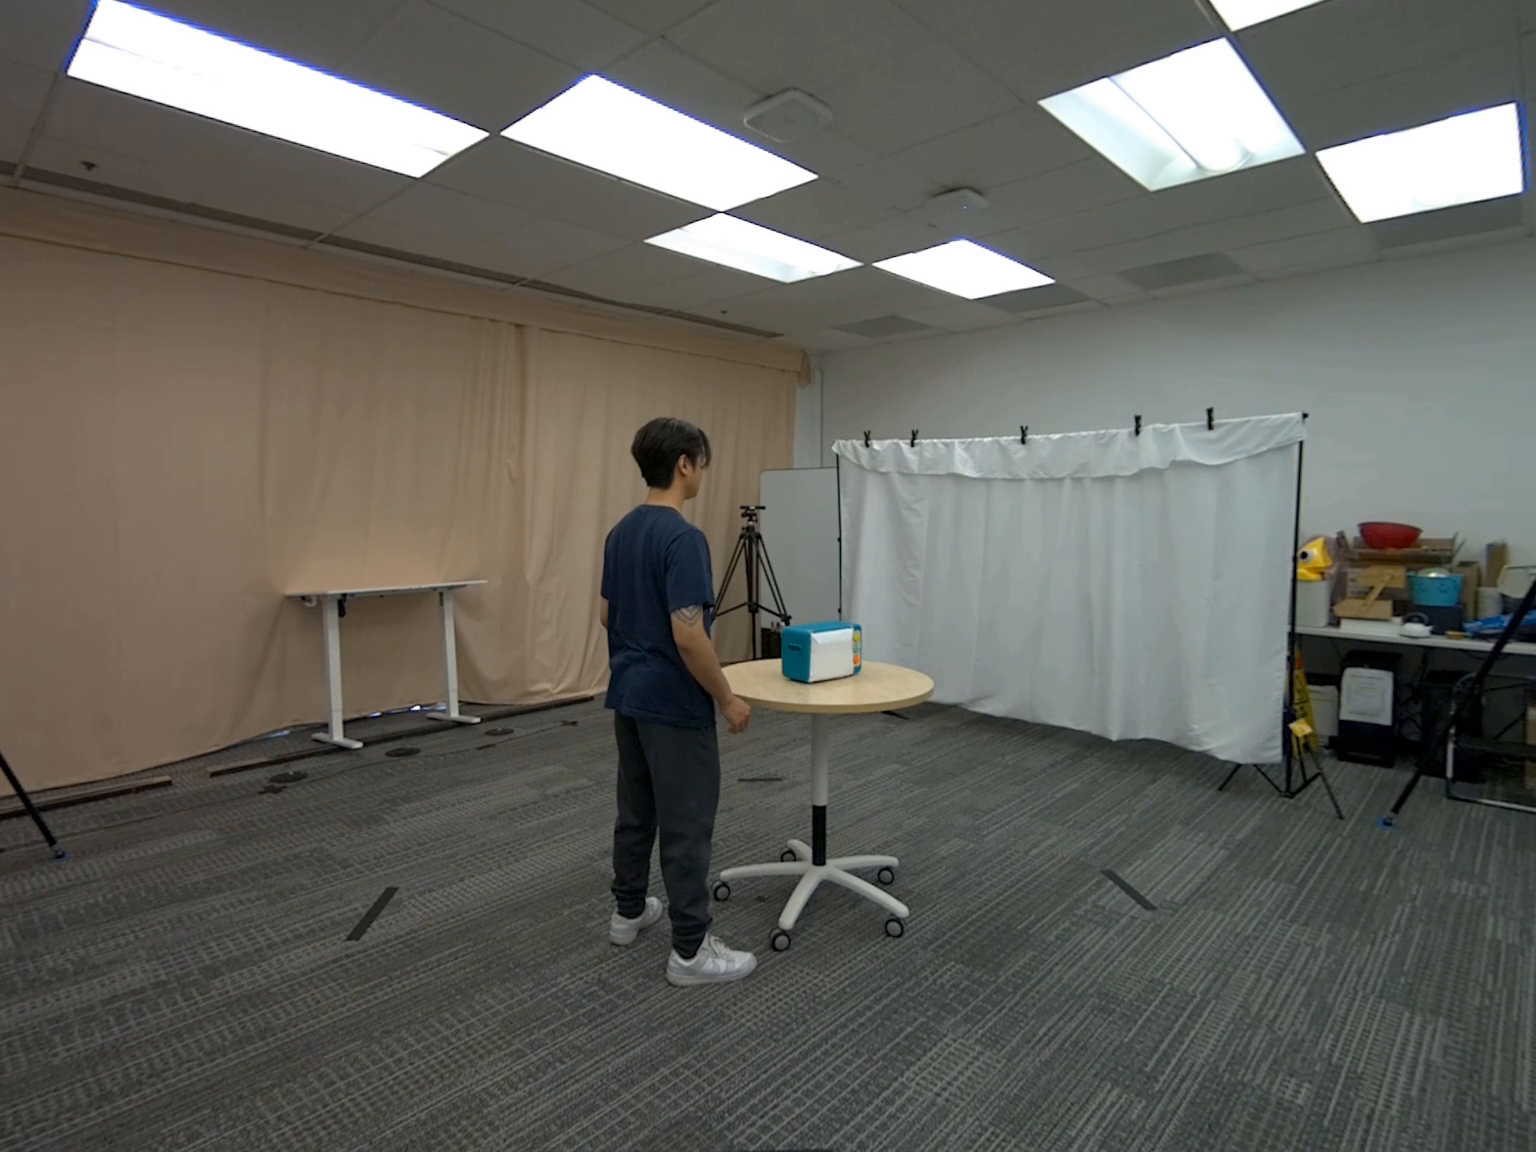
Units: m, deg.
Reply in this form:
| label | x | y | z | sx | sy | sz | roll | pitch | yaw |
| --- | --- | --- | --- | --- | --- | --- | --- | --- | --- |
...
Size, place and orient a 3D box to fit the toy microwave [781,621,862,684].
| label | x | y | z | sx | sy | sz | roll | pitch | yaw |
| --- | --- | --- | --- | --- | --- | --- | --- | --- | --- |
| toy microwave | 0.196 | 0.262 | 2.922 | 0.277 | 0.184 | 0.157 | -3 | 5 | -39 |
